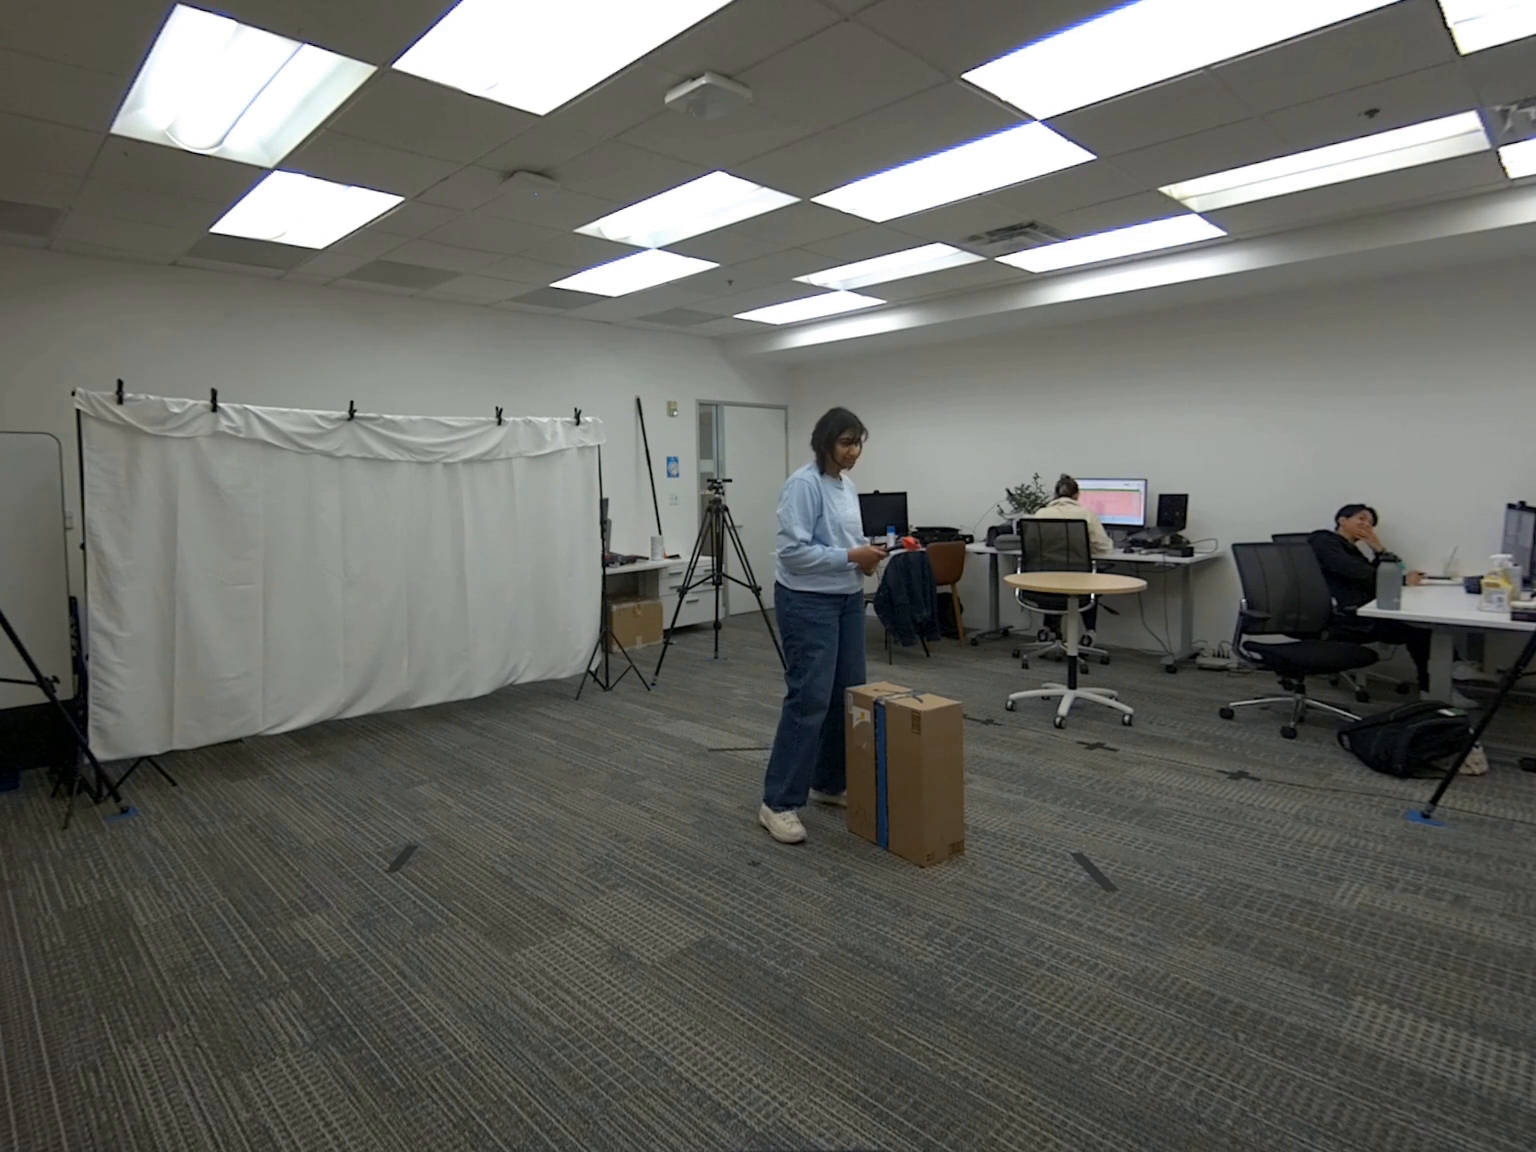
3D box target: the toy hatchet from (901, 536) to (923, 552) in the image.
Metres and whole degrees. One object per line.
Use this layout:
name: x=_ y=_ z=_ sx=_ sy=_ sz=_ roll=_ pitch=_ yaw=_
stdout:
toy hatchet: x=0.471 y=-0.095 z=3.379 sx=0.127 sy=0.030 sz=0.274 roll=12 pitch=-24 yaw=-37
